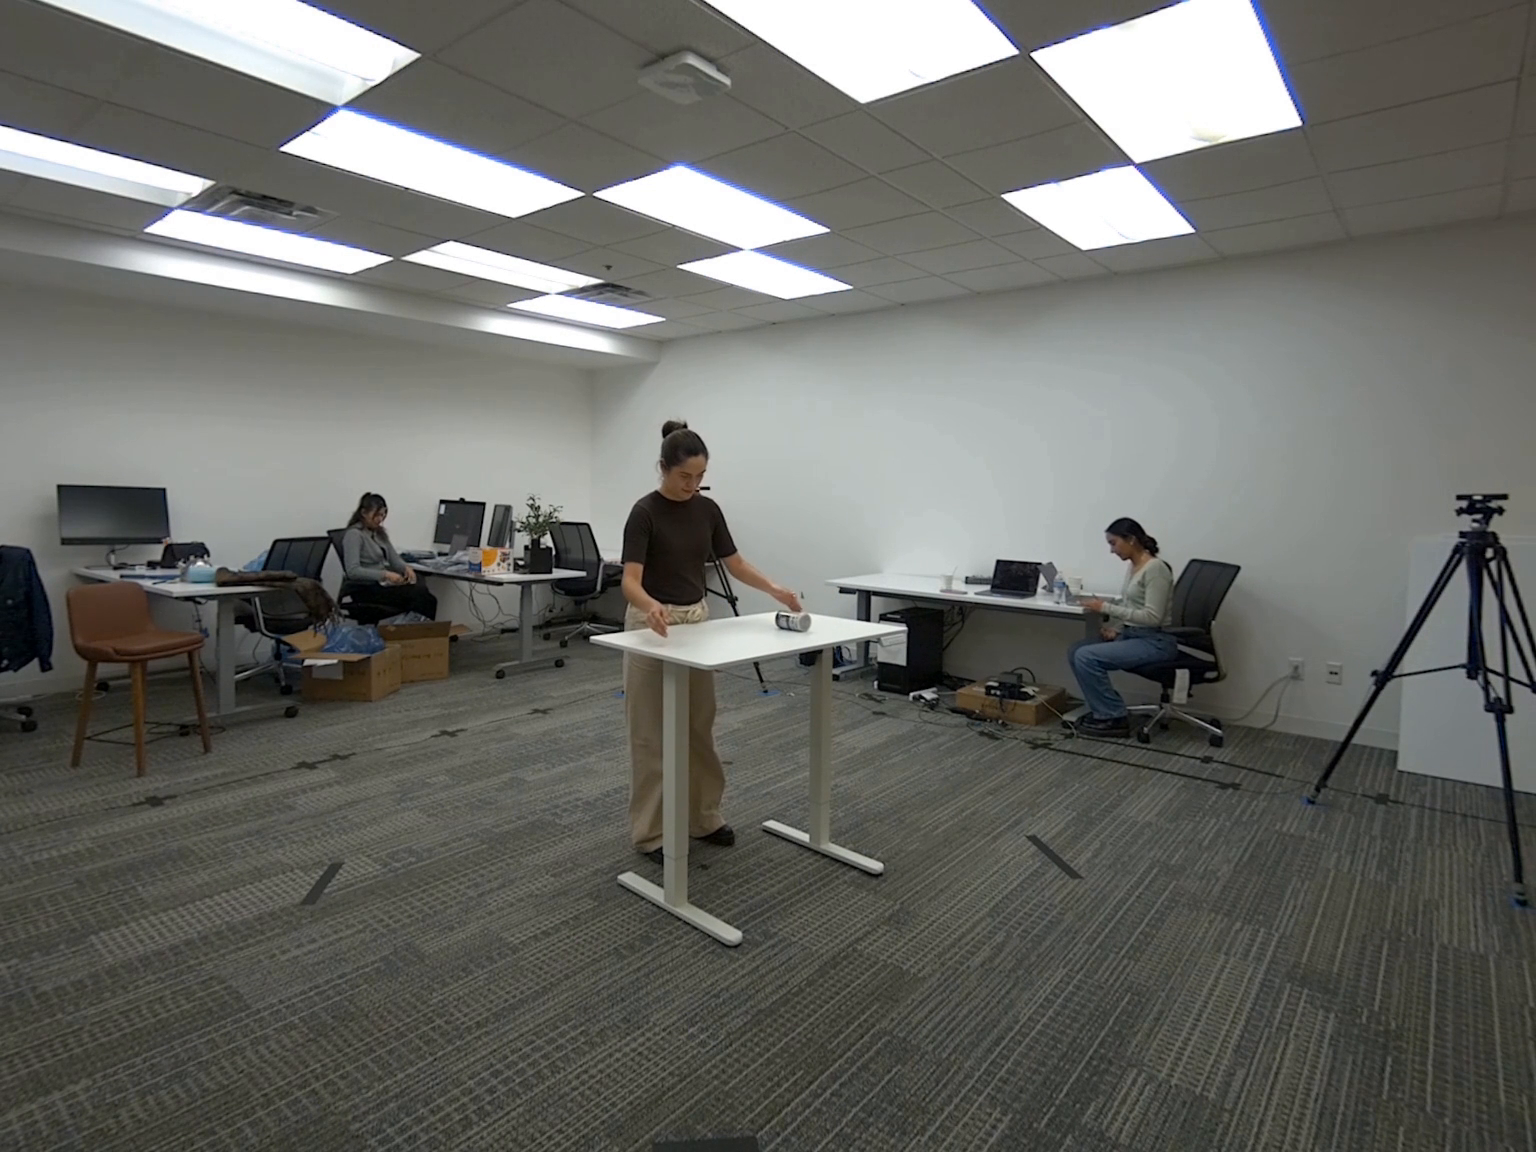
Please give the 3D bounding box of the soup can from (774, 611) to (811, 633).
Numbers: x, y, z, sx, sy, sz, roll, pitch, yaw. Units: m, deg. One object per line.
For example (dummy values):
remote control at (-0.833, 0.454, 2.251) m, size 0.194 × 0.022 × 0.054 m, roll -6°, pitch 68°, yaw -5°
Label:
soup can at (0.073, 0.157, 3.052) m, size 0.065 × 0.067 × 0.126 m, roll -3°, pitch 6°, yaw -41°
